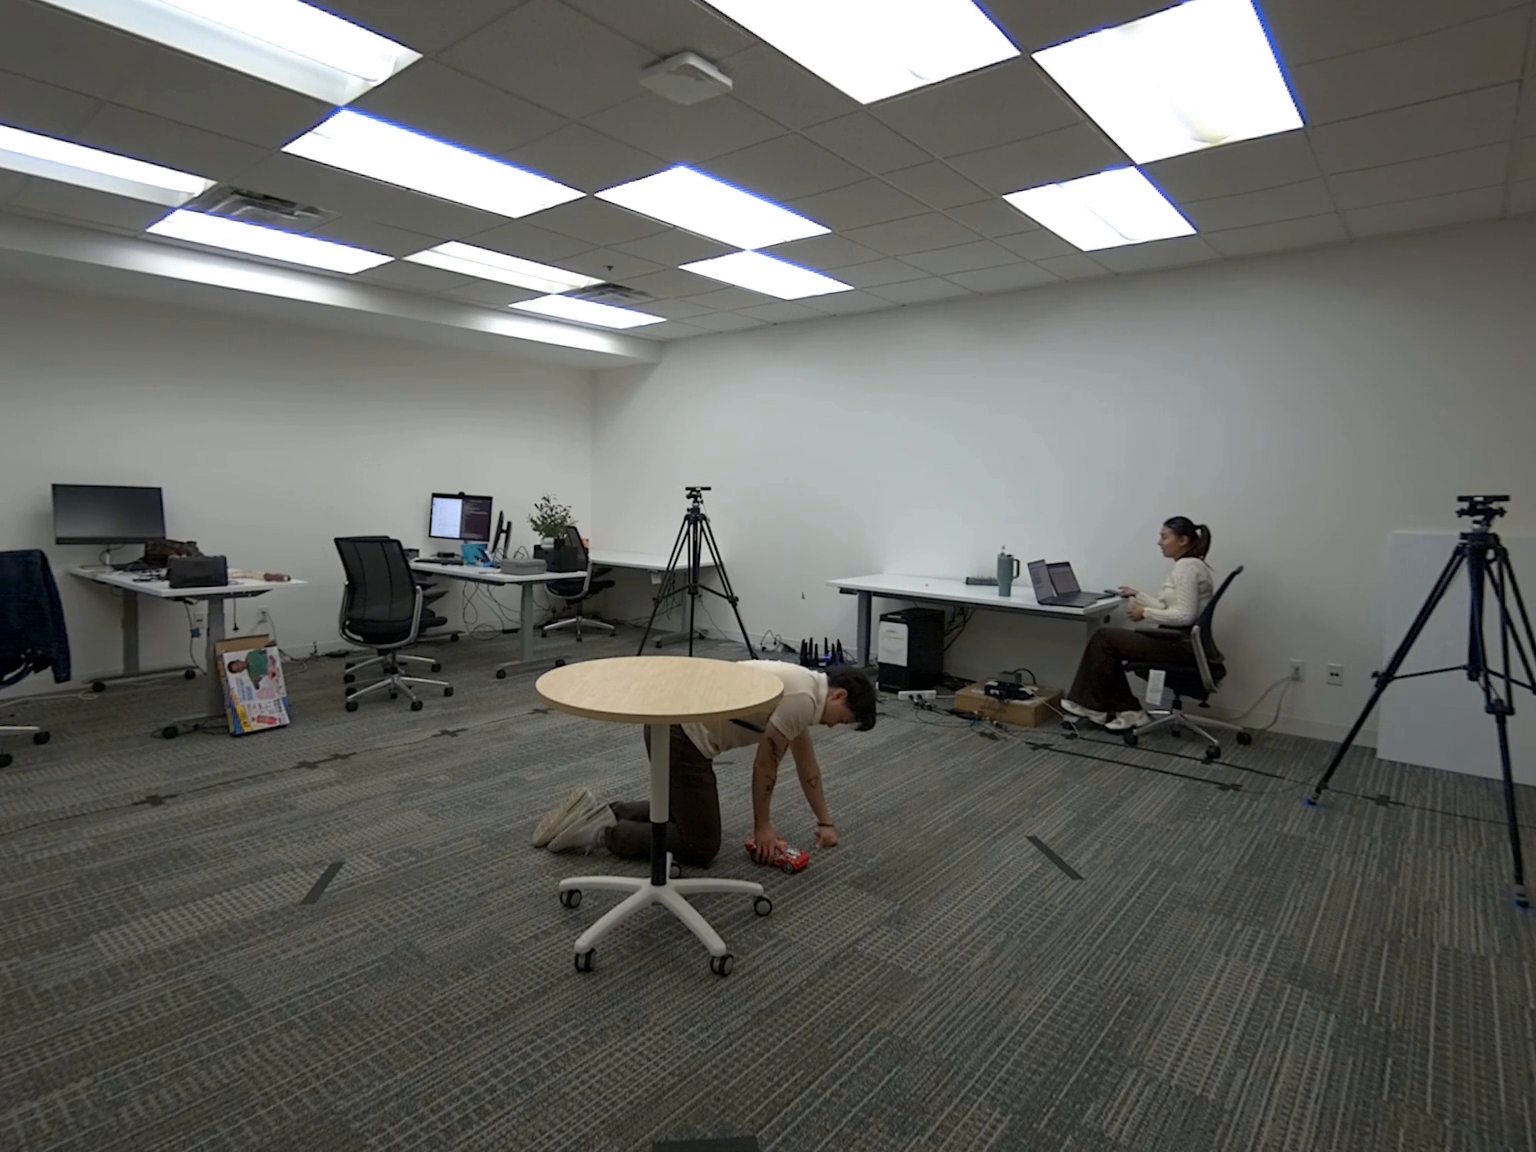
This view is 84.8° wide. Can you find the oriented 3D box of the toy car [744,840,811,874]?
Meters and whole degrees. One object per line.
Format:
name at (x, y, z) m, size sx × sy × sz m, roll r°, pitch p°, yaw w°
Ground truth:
toy car at (0.026, 1.036, 3.174) m, size 0.264 × 0.082 × 0.126 m, roll 17°, pitch 13°, yaw 37°
